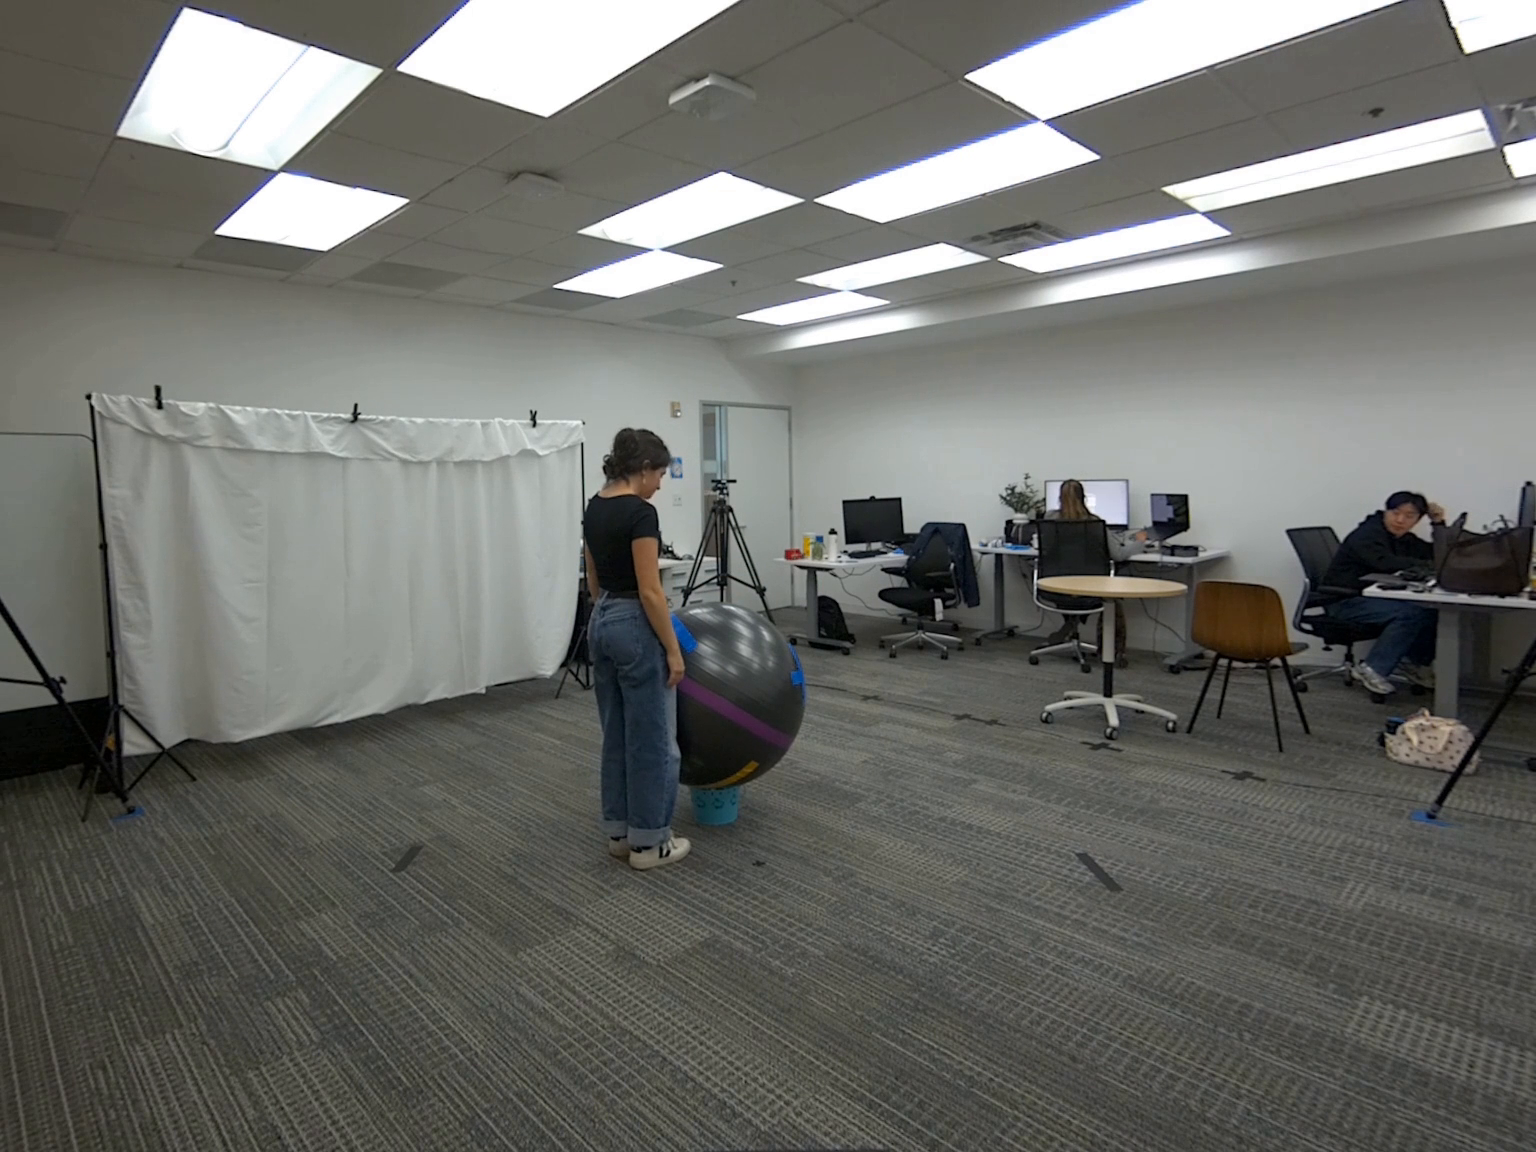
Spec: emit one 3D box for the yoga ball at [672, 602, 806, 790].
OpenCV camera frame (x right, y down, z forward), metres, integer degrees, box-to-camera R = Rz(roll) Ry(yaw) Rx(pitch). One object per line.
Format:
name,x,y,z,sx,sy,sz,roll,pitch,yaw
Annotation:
yoga ball,-0.225,0.490,3.557,0.757,0.755,0.762,-1,5,-2
